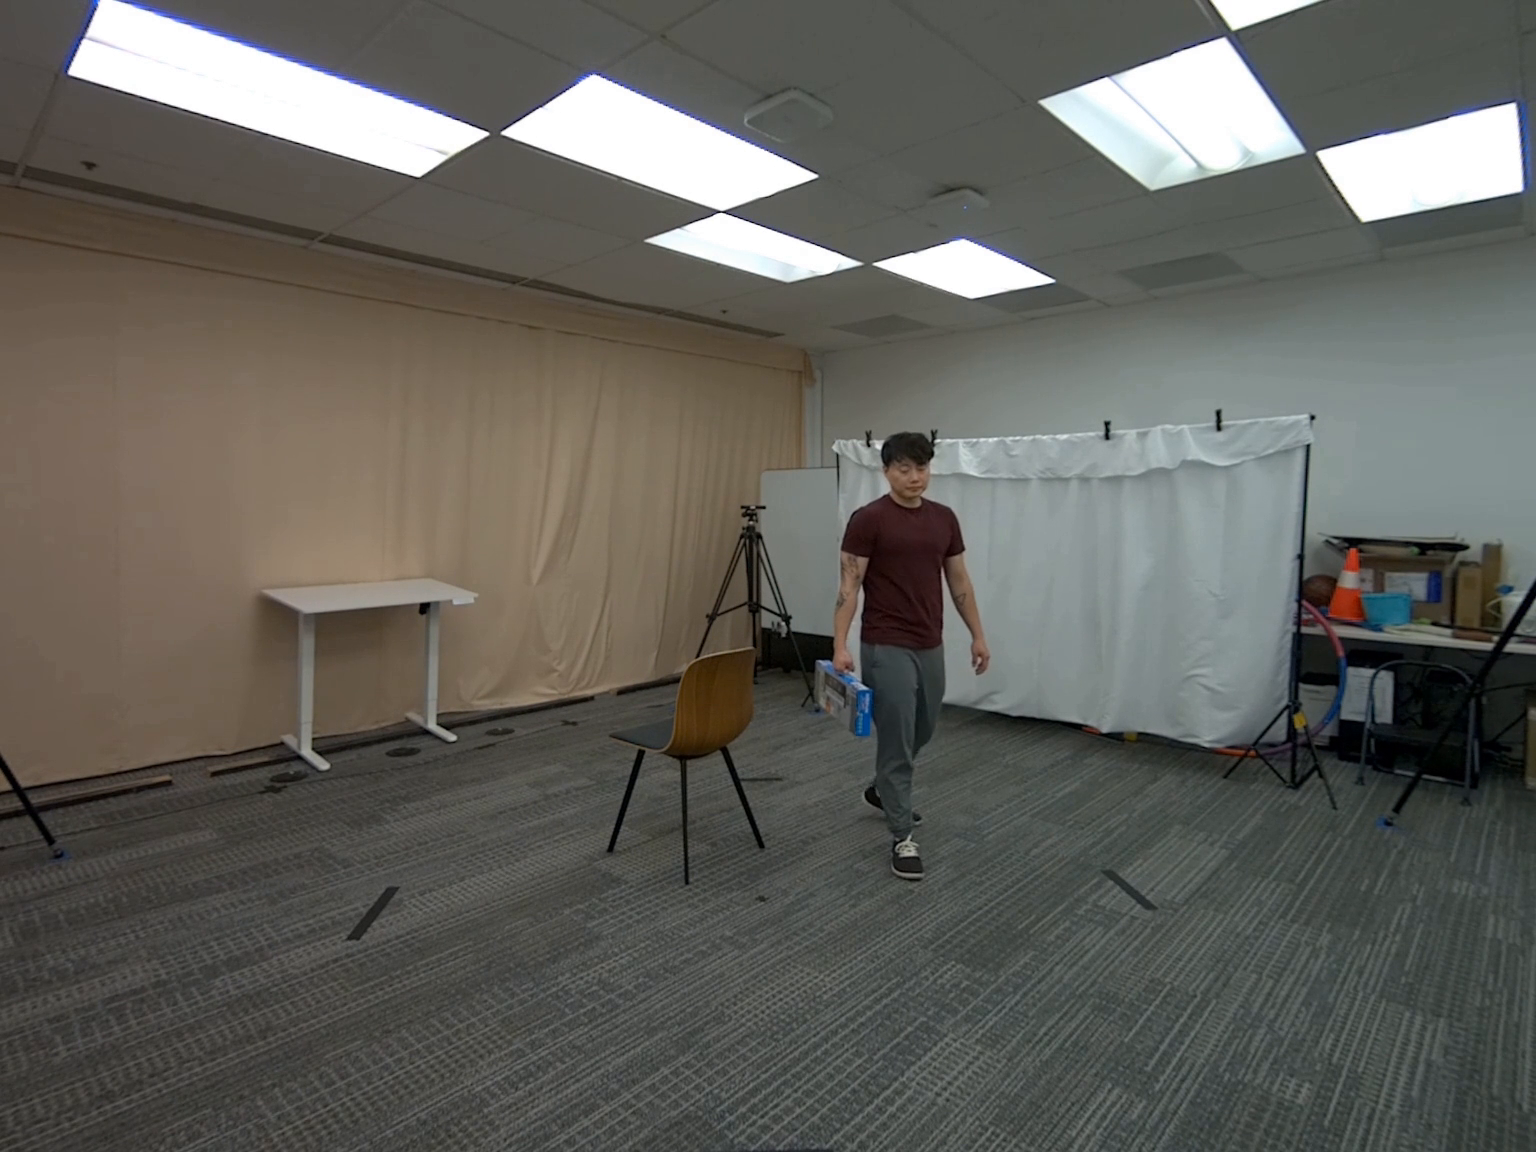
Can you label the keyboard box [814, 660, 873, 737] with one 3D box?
[{"bbox_3d":[0.292,0.470,3.273,0.058,0.175,0.445,-1,8,-15],"label":"keyboard box"}]
